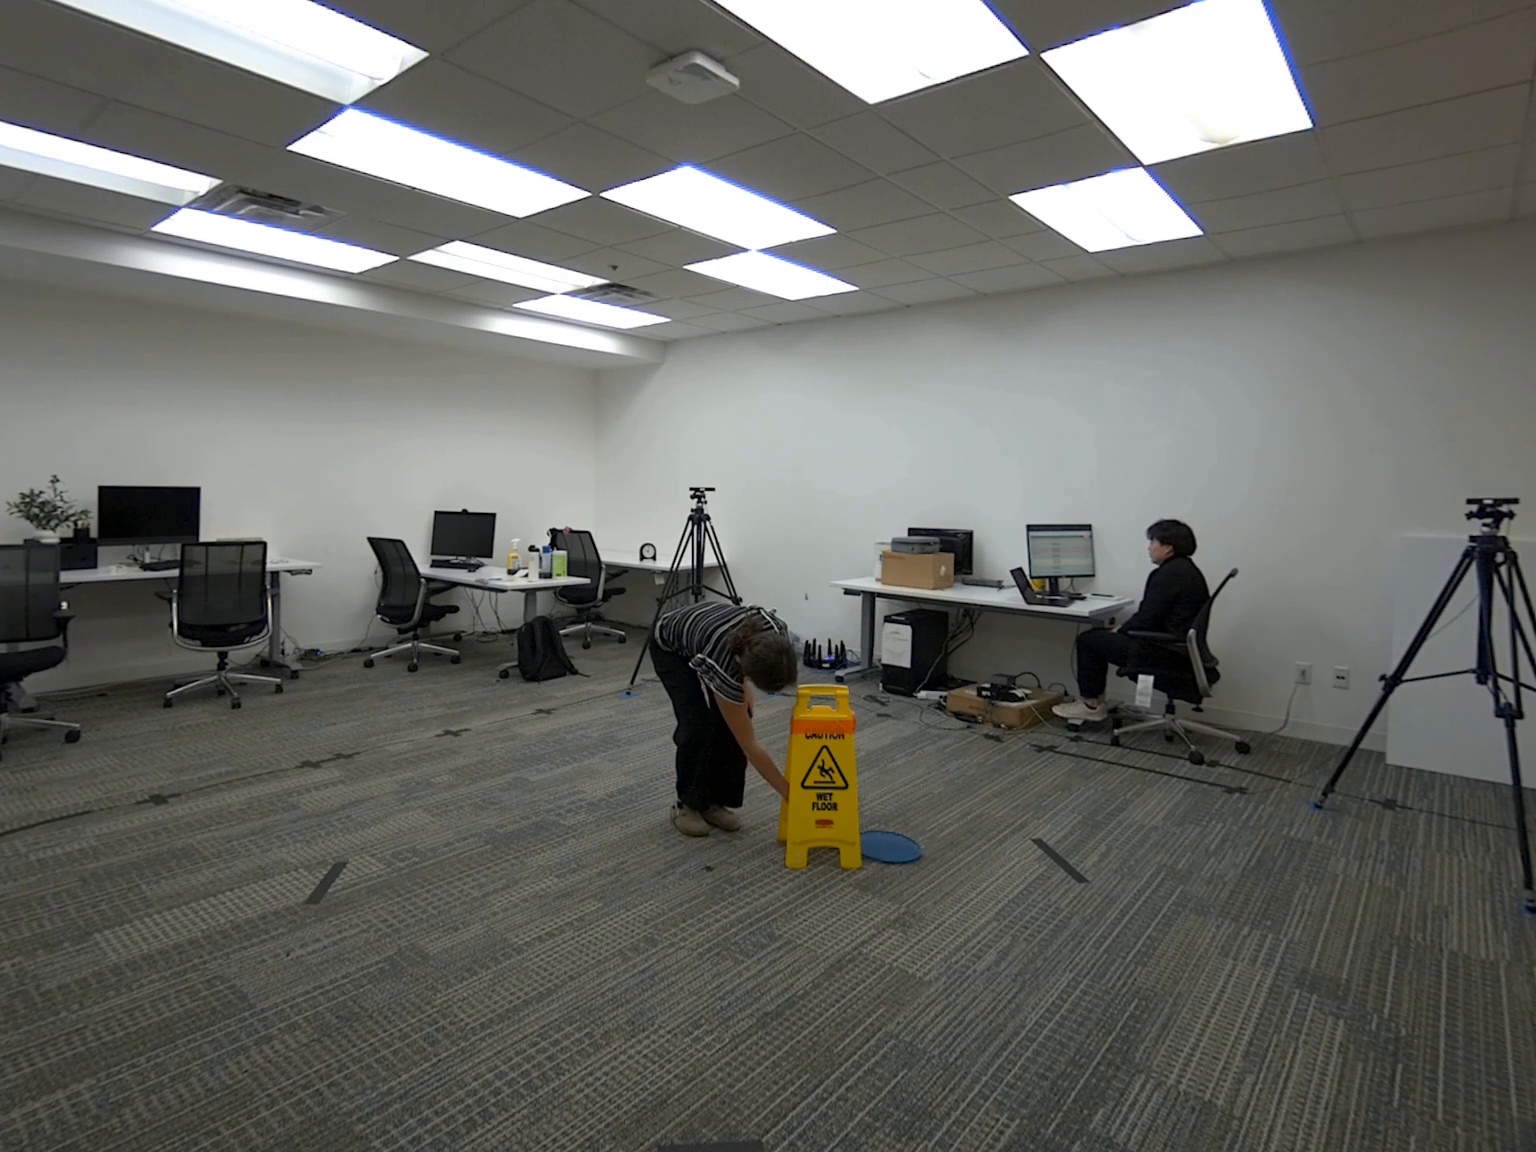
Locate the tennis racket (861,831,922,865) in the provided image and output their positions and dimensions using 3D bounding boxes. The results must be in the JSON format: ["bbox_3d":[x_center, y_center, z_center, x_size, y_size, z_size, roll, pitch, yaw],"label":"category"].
[{"bbox_3d":[0.360,1.039,3.297,0.438,0.031,0.212,4,7,9],"label":"tennis racket"}]
